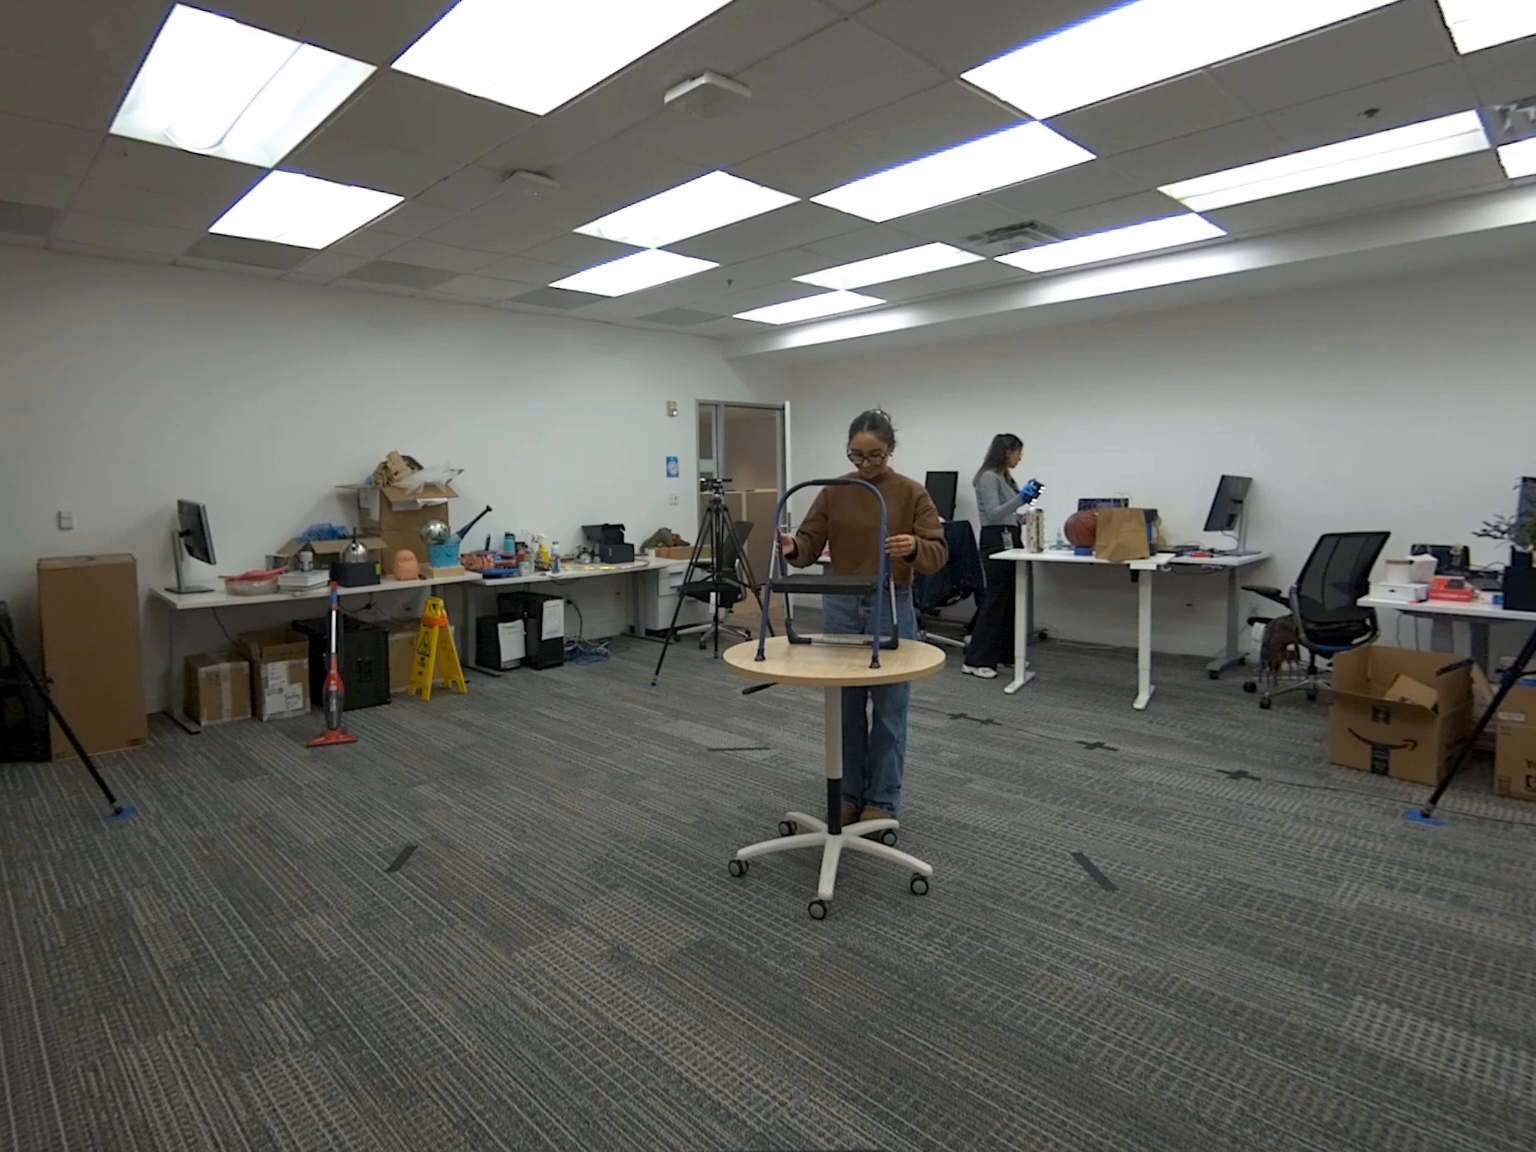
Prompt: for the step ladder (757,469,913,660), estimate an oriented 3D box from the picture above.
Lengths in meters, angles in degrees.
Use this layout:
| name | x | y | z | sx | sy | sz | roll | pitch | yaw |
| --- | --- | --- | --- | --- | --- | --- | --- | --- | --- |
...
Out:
| name | x | y | z | sx | sy | sz | roll | pitch | yaw |
| --- | --- | --- | --- | --- | --- | --- | --- | --- | --- |
| step ladder | 0.211 | -0.026 | 2.946 | 0.440 | 0.604 | 0.343 | 0 | 4 | 22 |
